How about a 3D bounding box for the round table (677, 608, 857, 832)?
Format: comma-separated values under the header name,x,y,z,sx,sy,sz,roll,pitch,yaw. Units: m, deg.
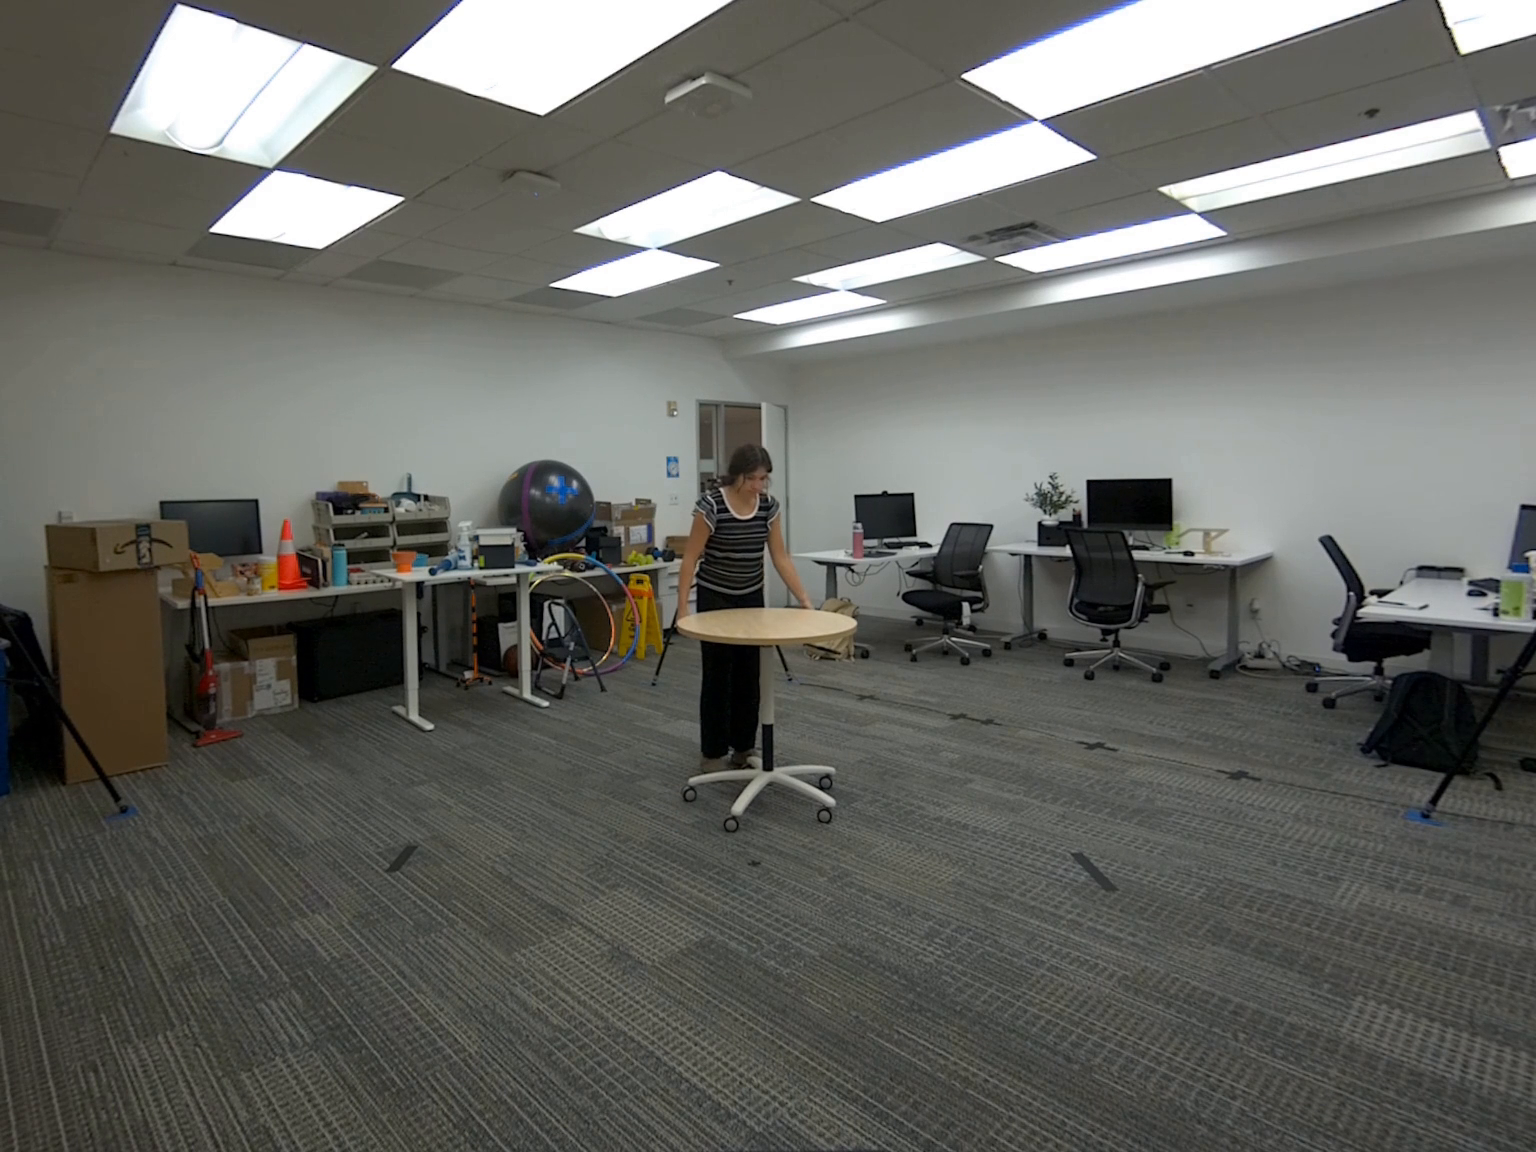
name,x,y,z,sx,sy,sz,roll,pitch,yaw
round table,-0.014,0.592,3.671,0.763,0.791,0.768,-1,5,-2
